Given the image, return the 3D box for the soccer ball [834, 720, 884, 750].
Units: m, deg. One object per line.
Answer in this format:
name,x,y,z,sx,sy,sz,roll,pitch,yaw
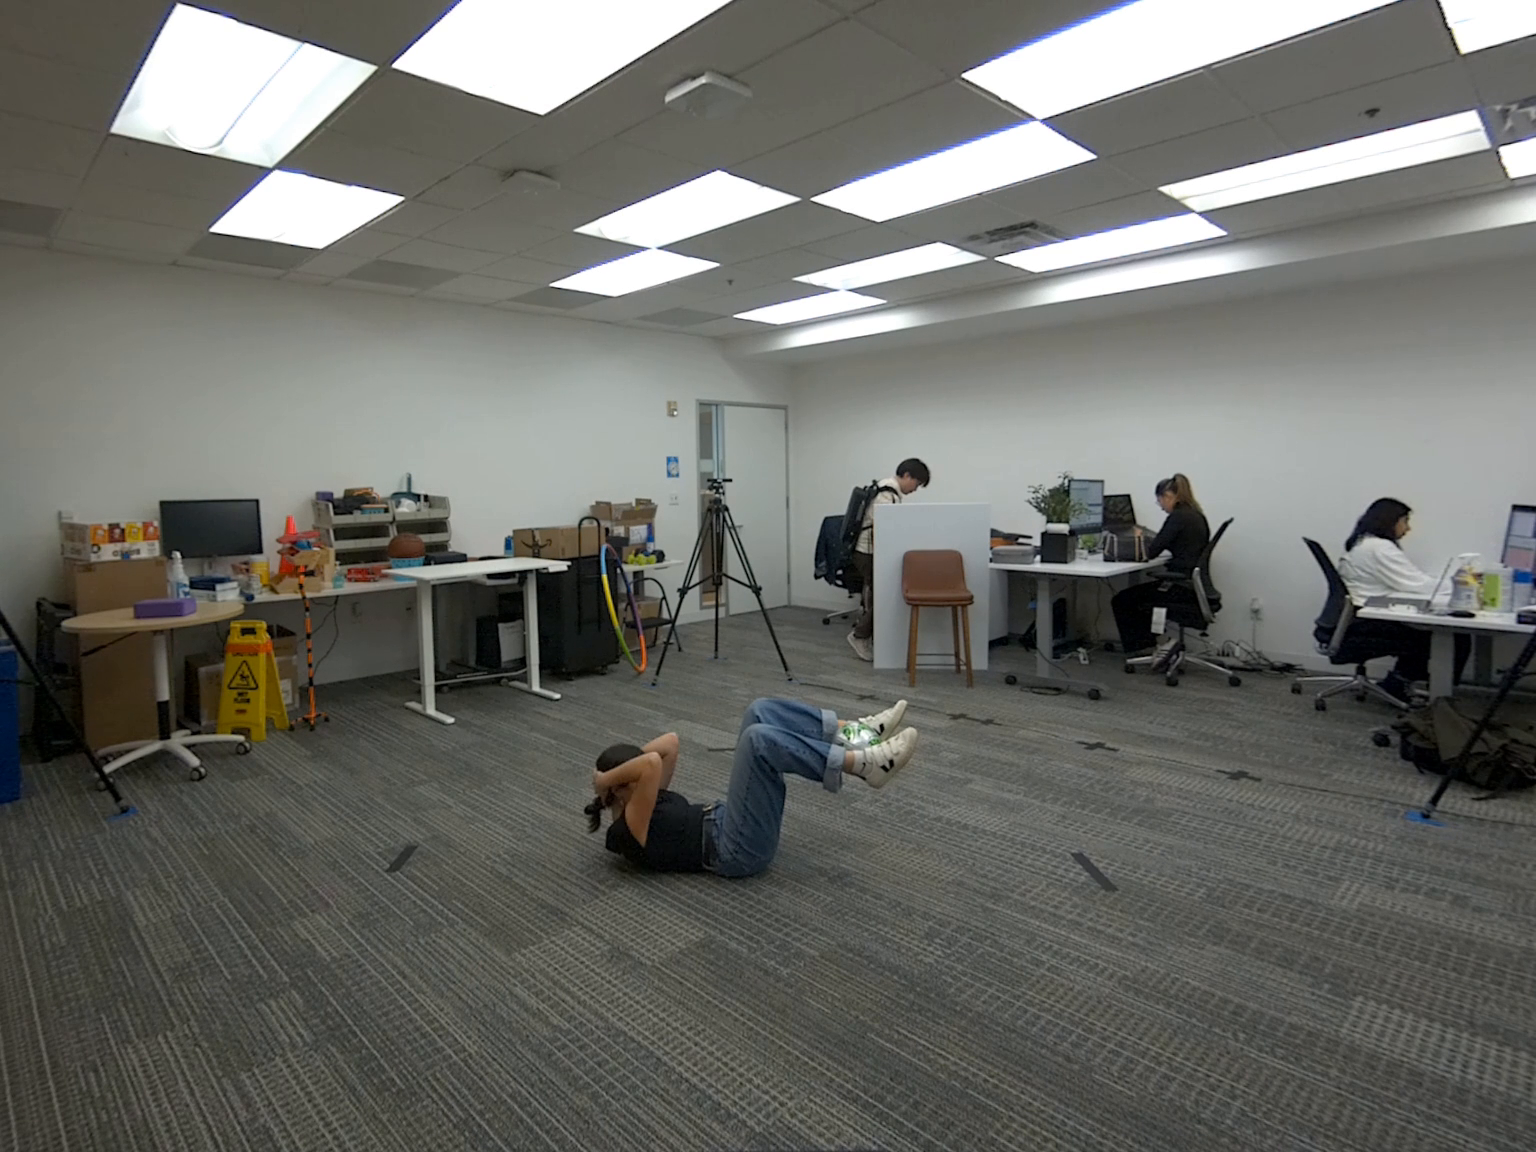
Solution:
soccer ball,0.321,0.621,3.066,0.187,0.187,0.188,0,1,-2
